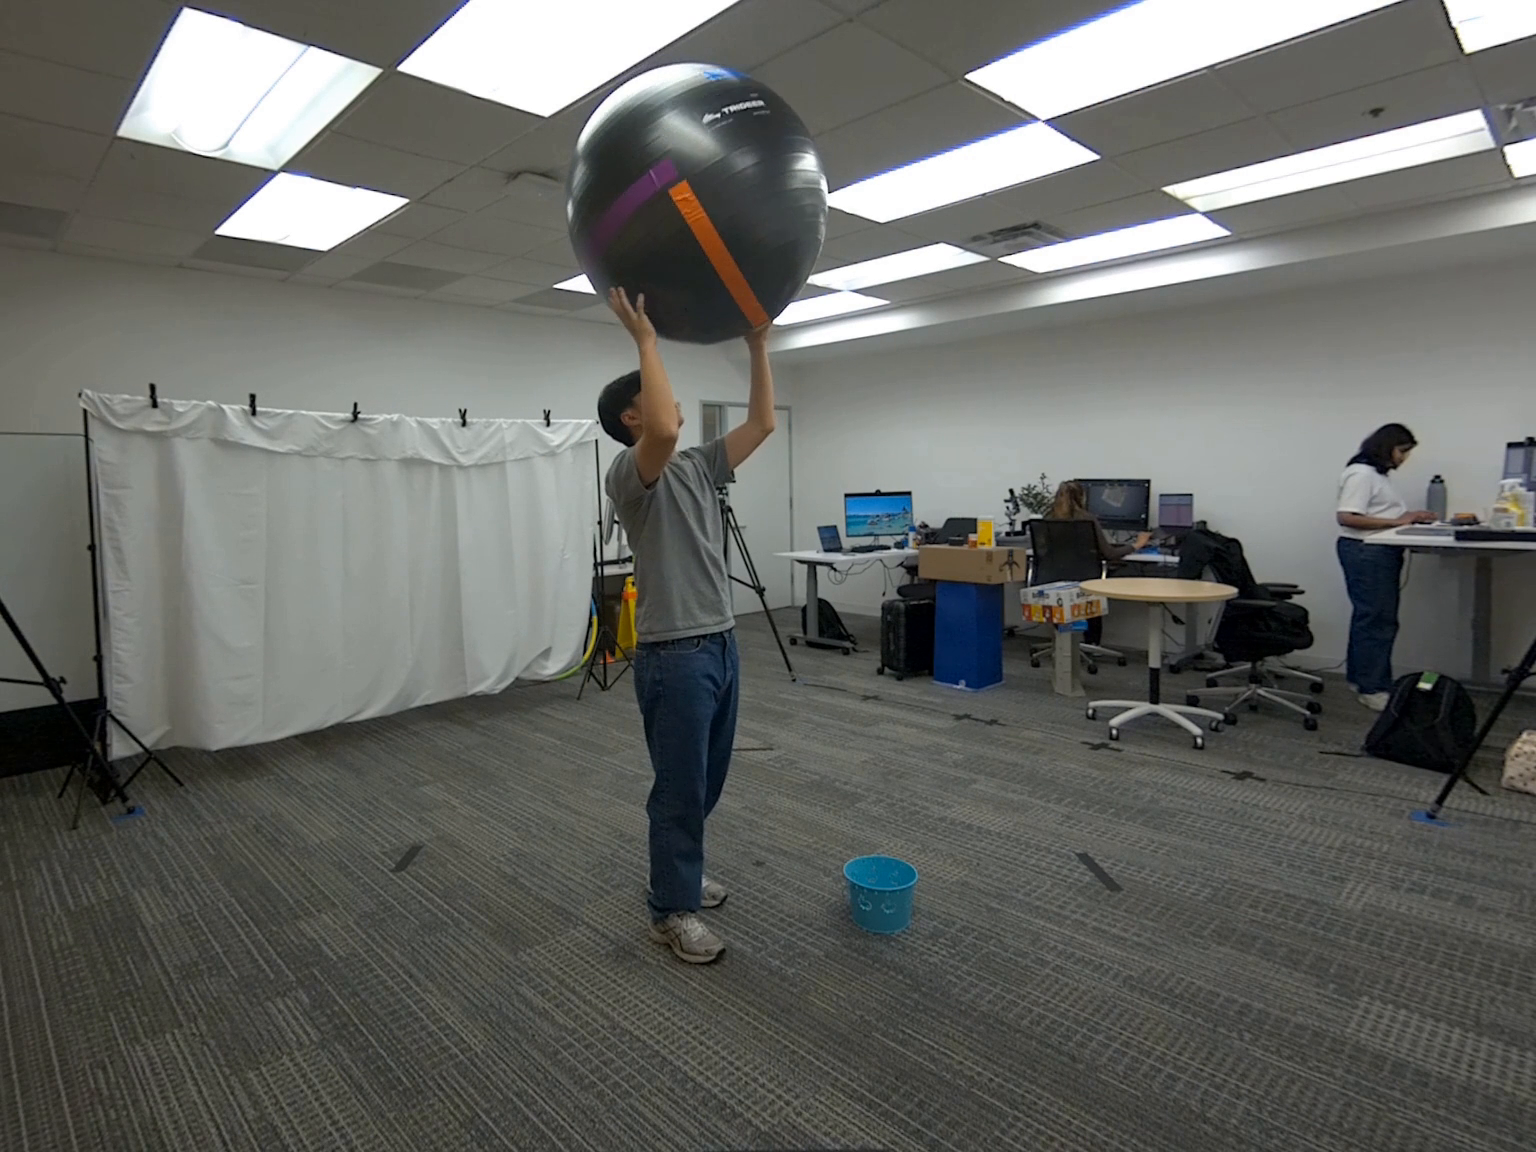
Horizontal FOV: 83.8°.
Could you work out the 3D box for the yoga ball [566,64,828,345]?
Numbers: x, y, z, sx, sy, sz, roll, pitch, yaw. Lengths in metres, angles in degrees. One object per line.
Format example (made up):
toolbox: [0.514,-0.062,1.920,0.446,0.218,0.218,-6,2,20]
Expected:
yoga ball: [-0.208,-1.060,2.469,0.757,0.755,0.762,-1,5,-2]
